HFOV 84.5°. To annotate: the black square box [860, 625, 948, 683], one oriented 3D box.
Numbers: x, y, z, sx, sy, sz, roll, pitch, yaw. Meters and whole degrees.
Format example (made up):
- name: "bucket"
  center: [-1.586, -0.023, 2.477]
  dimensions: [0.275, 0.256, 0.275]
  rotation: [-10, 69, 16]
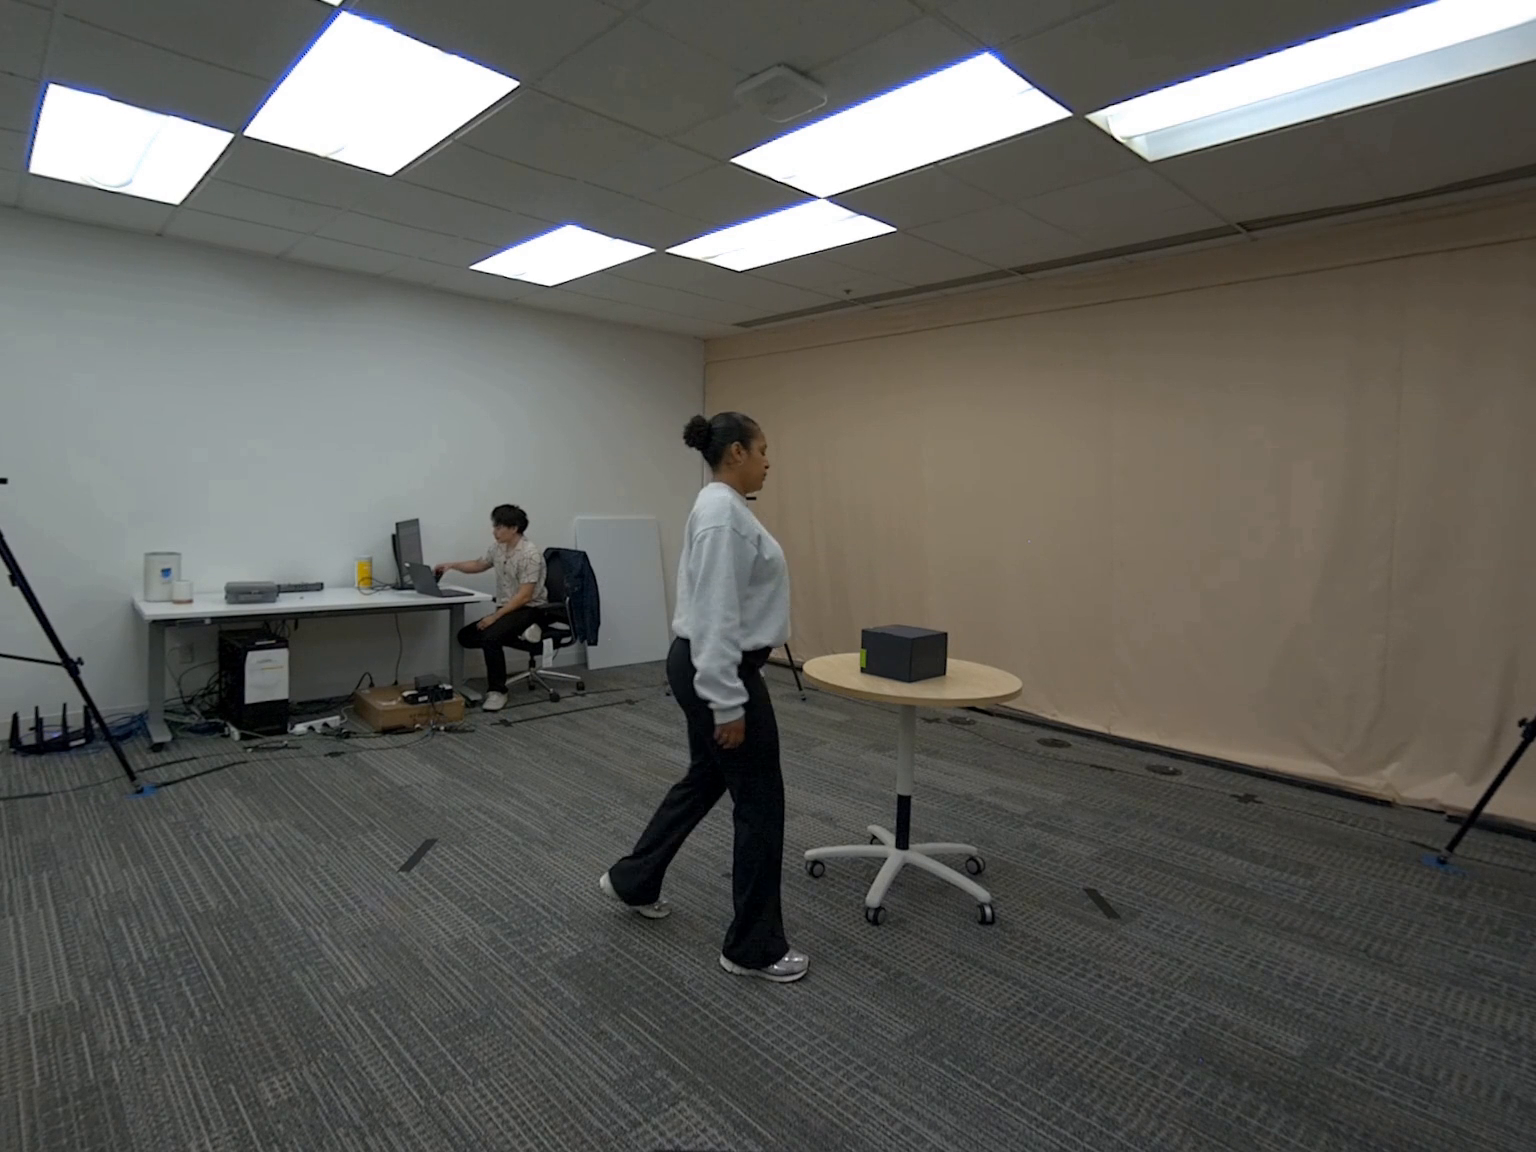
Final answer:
- name: "black square box"
  center: [0.477, 0.269, 2.993]
  dimensions: [0.222, 0.155, 0.223]
  rotation: [6, 6, 44]
